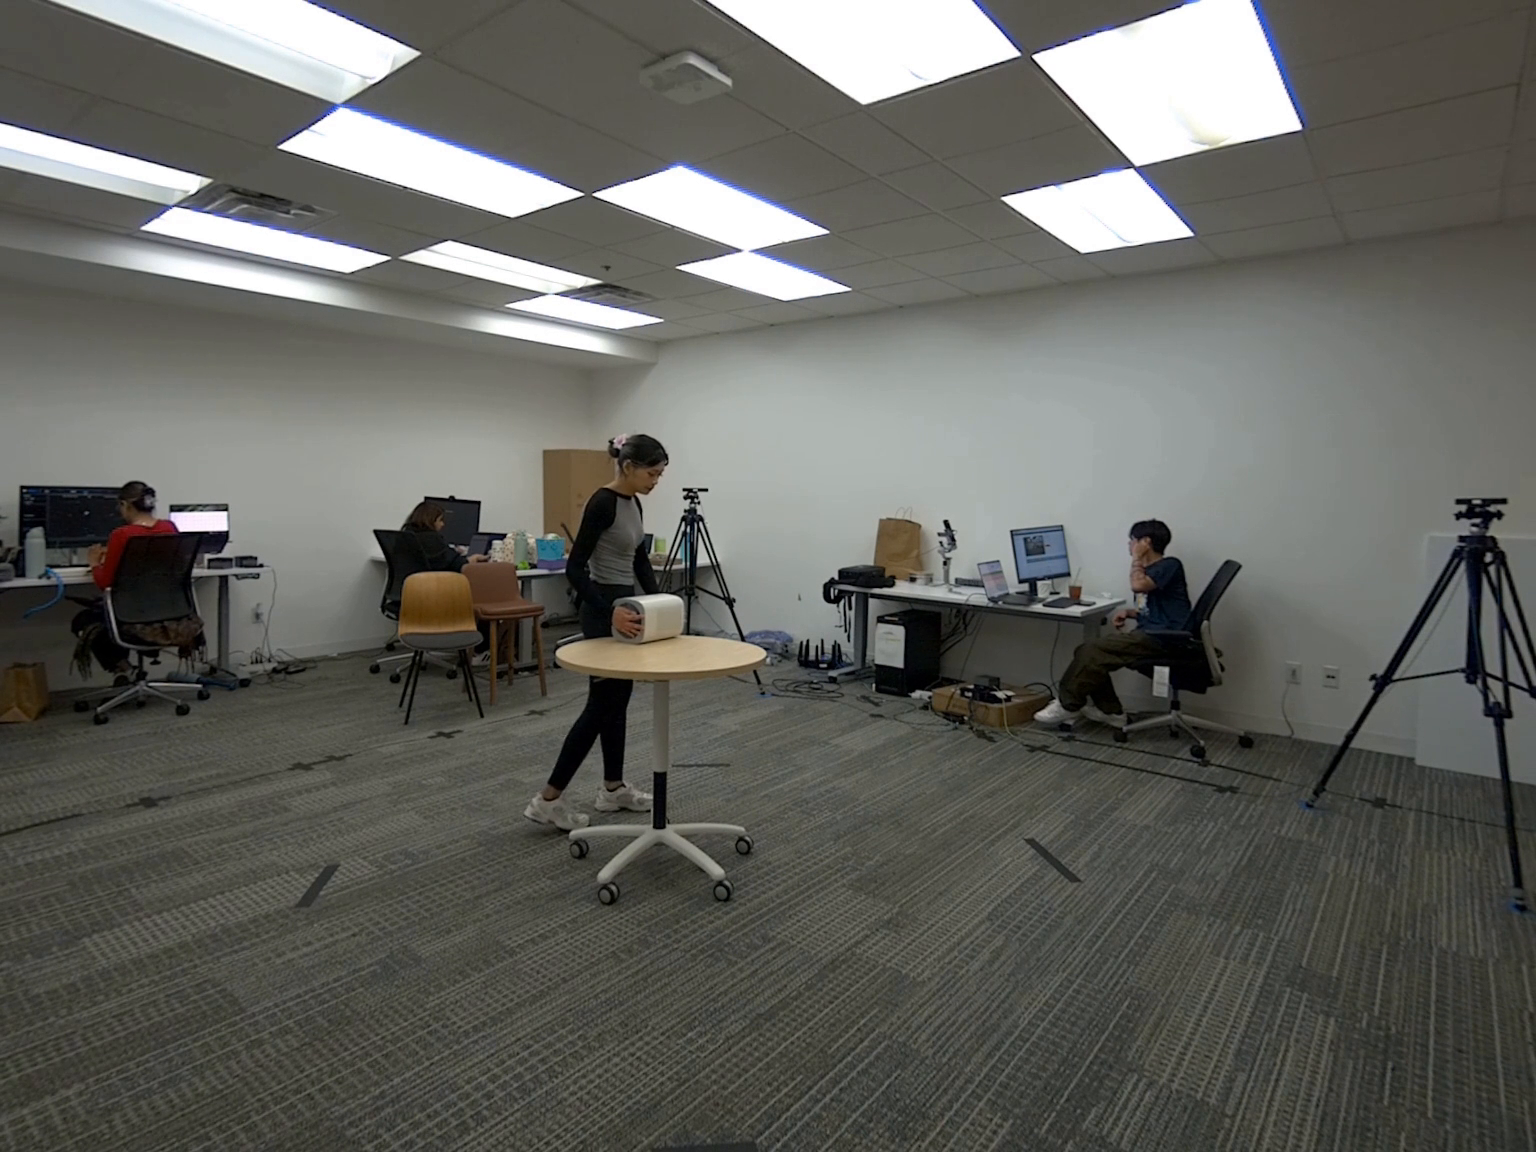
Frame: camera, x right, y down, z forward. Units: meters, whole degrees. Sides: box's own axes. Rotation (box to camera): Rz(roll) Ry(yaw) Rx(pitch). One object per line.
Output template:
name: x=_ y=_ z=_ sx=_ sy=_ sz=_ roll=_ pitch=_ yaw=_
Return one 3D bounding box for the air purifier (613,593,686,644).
air purifier: x=-0.472 y=0.163 z=3.375 sx=0.176 sy=0.171 sz=0.258 roll=3 pitch=5 yaw=34
